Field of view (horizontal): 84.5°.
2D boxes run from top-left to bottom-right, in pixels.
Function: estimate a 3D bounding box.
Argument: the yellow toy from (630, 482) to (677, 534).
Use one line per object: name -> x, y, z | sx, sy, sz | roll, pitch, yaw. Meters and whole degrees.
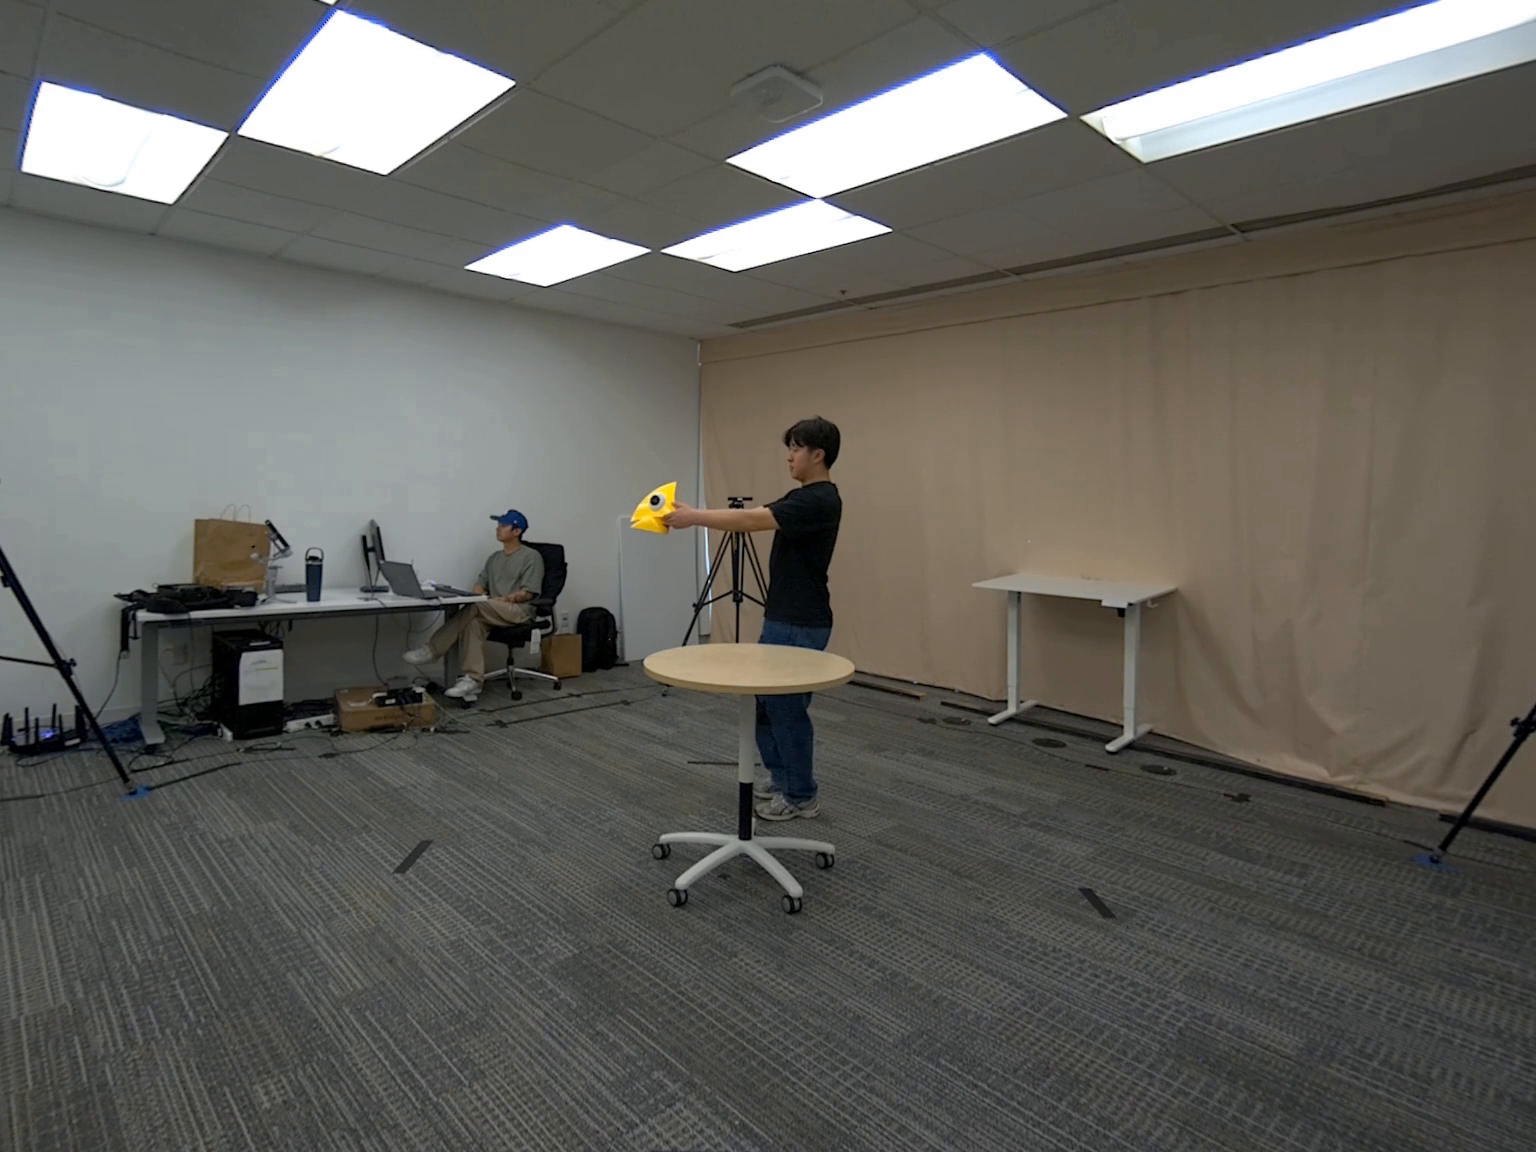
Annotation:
yellow toy -> -0.480, -0.303, 3.617 | 0.192, 0.230, 0.206 | 11, 1, -7
